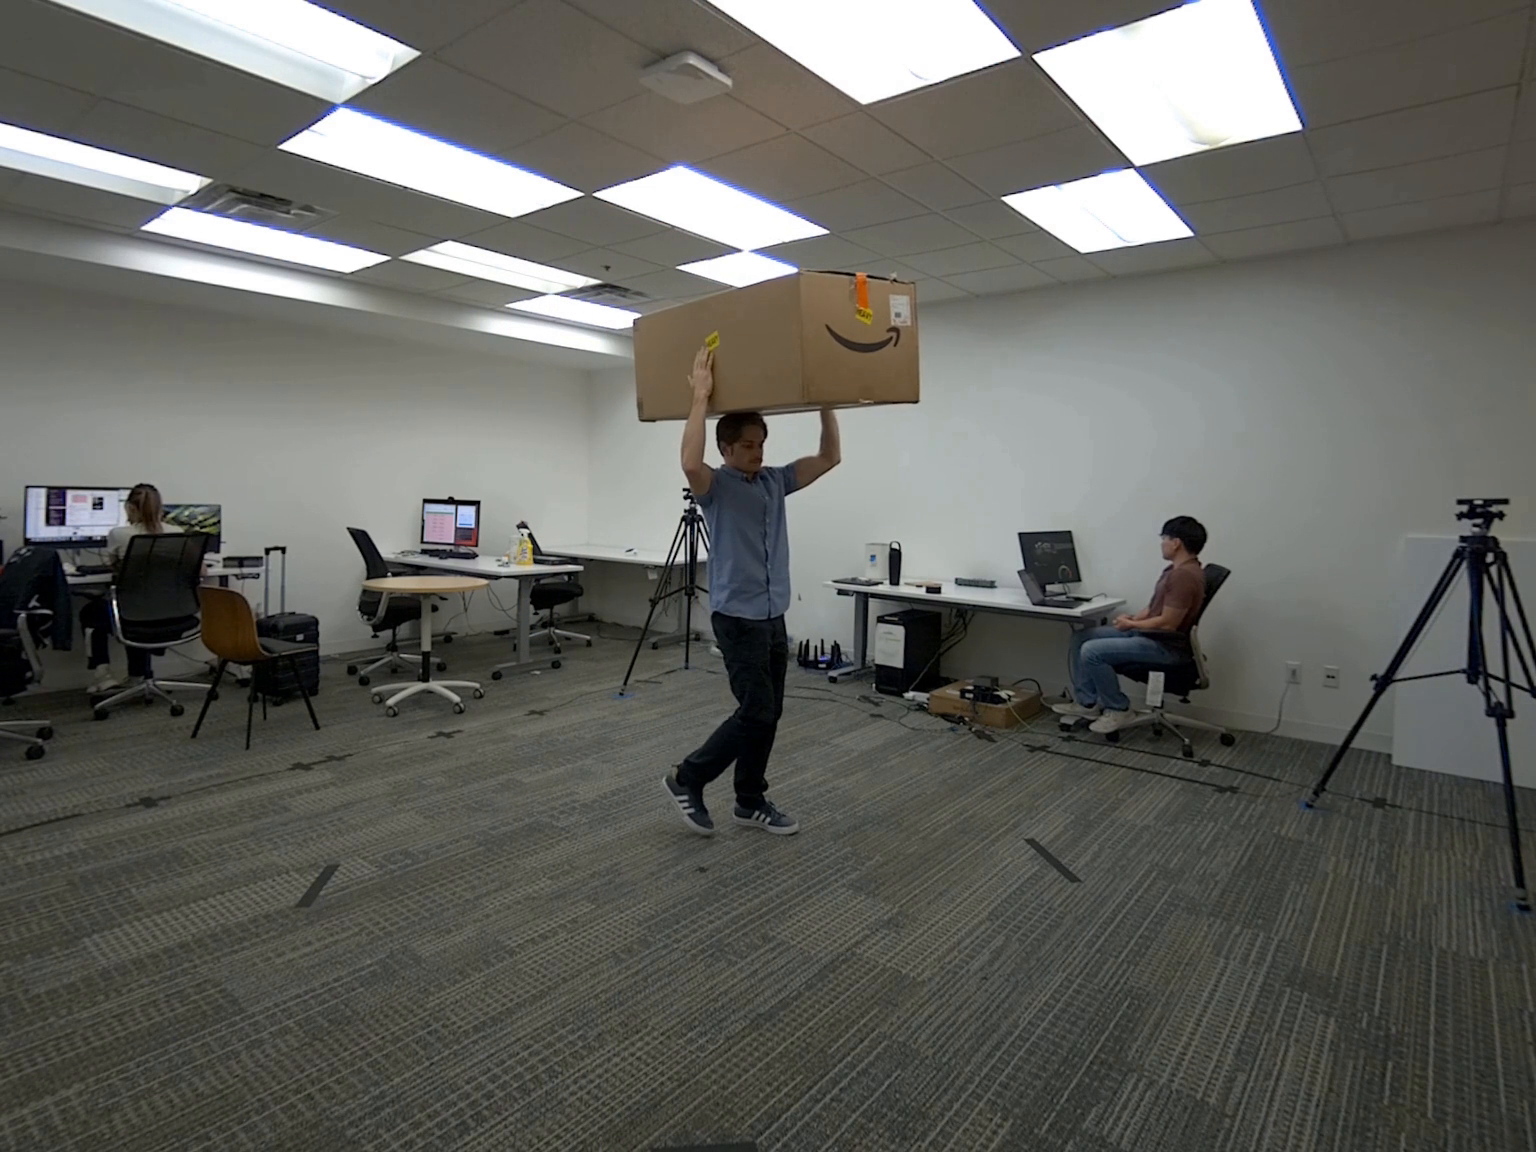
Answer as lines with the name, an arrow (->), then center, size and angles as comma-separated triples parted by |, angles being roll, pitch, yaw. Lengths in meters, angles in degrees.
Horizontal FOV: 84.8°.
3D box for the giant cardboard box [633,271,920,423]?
giant cardboard box -> -0.017, -0.847, 3.273 | 0.562, 0.423, 1.061 | -9, 11, -38
